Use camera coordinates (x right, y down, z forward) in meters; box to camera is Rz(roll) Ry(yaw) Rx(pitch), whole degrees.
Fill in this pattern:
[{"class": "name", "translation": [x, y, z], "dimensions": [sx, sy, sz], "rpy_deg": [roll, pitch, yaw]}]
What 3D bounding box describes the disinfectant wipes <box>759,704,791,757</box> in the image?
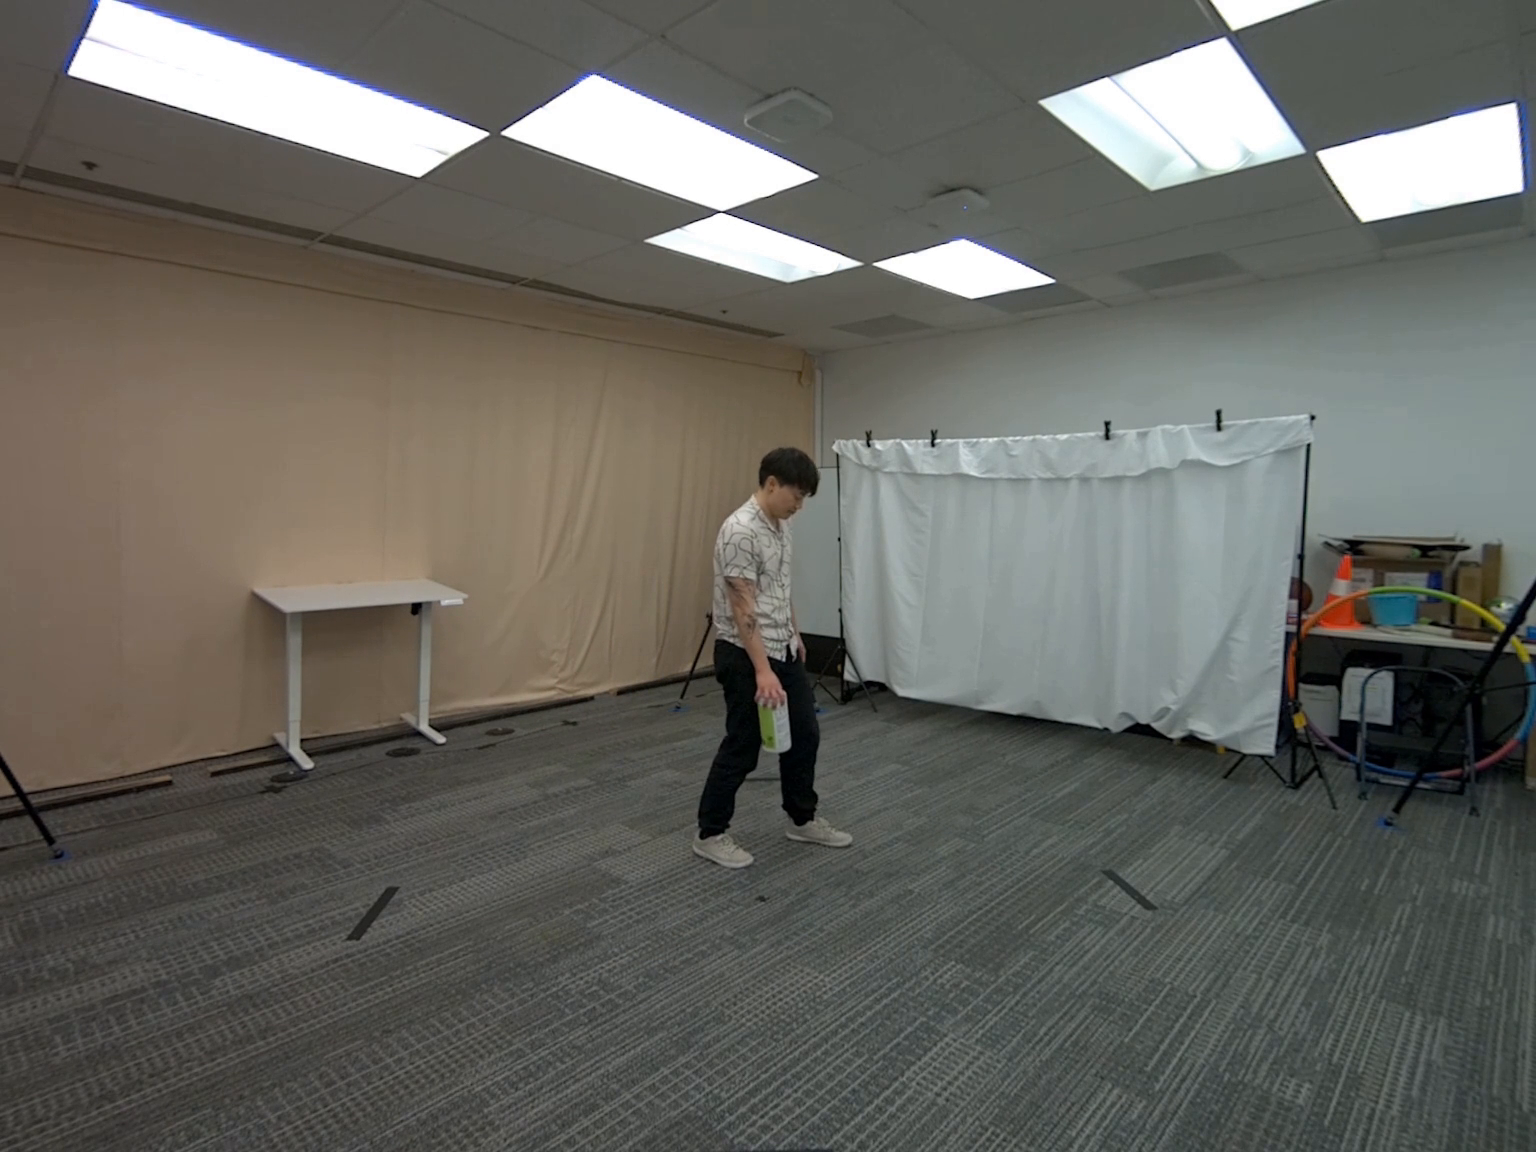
[{"class": "disinfectant wipes", "translation": [0.020, 0.534, 3.131], "dimensions": [0.118, 0.215, 0.119], "rpy_deg": [-5, 13, -1]}]
